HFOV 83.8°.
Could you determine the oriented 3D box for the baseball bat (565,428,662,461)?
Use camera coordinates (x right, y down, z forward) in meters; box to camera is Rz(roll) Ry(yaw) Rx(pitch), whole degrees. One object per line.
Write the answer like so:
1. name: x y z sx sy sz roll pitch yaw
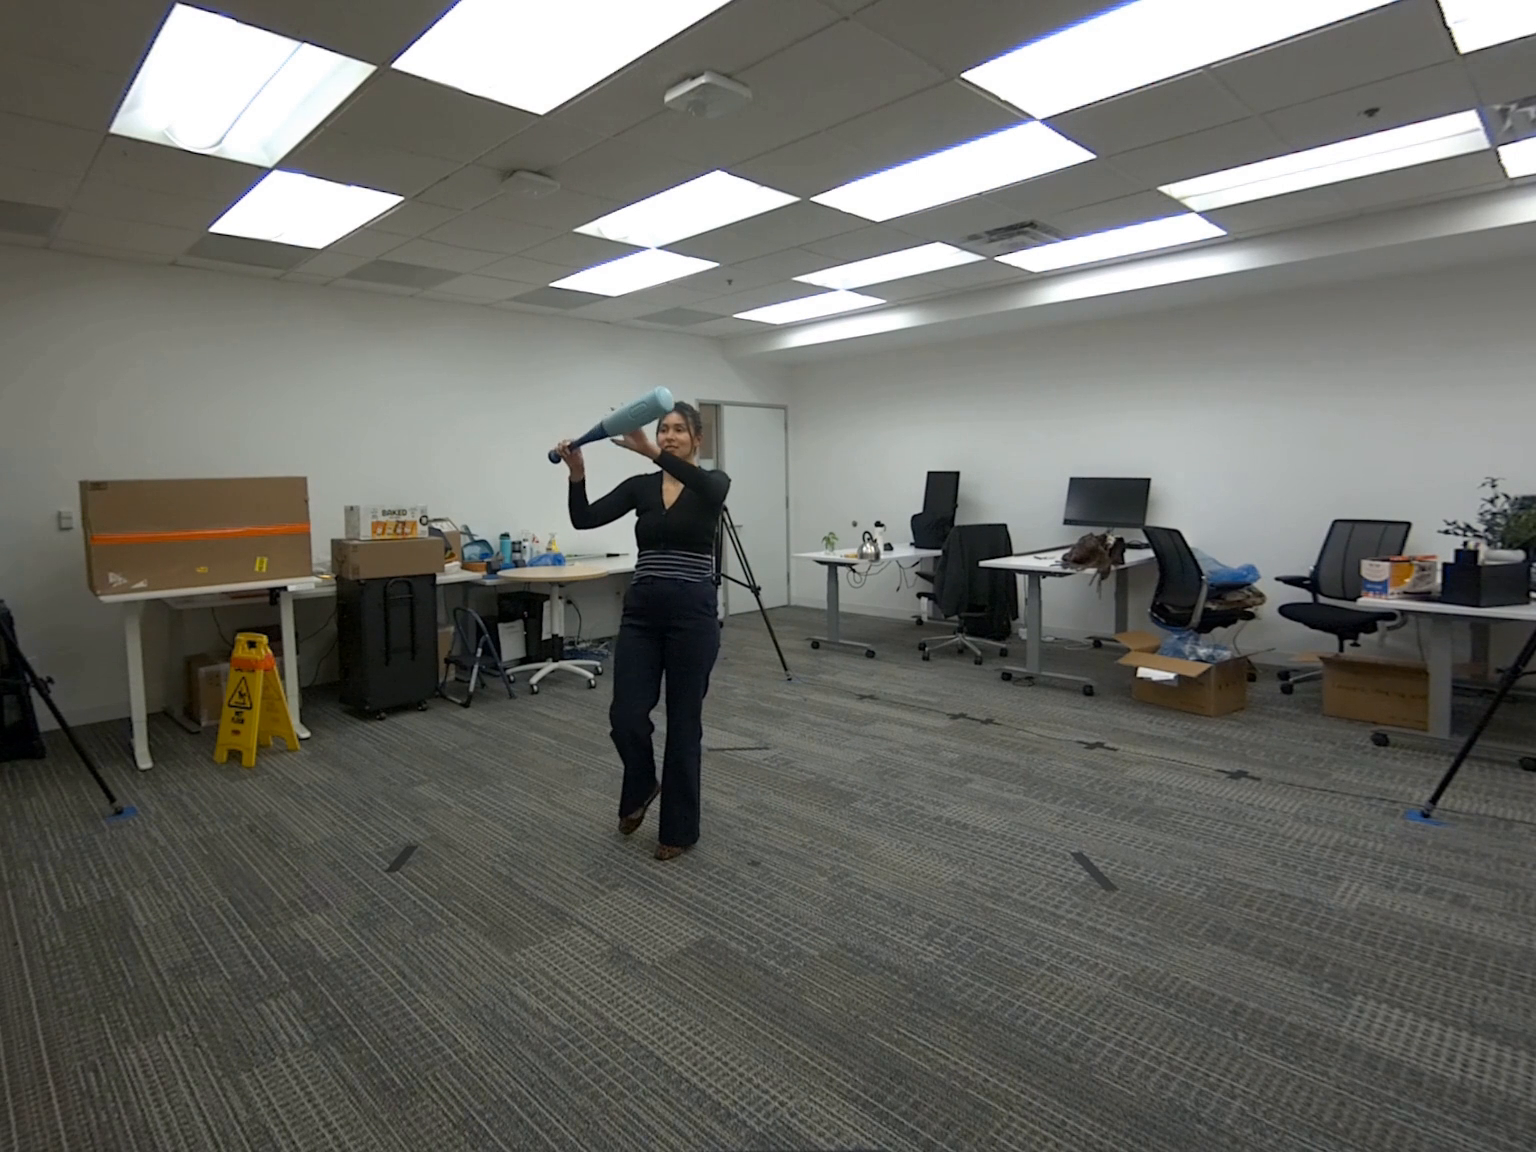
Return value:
1. baseball bat: -0.507 -0.476 2.726 0.552 0.090 0.087 -19 -6 34
